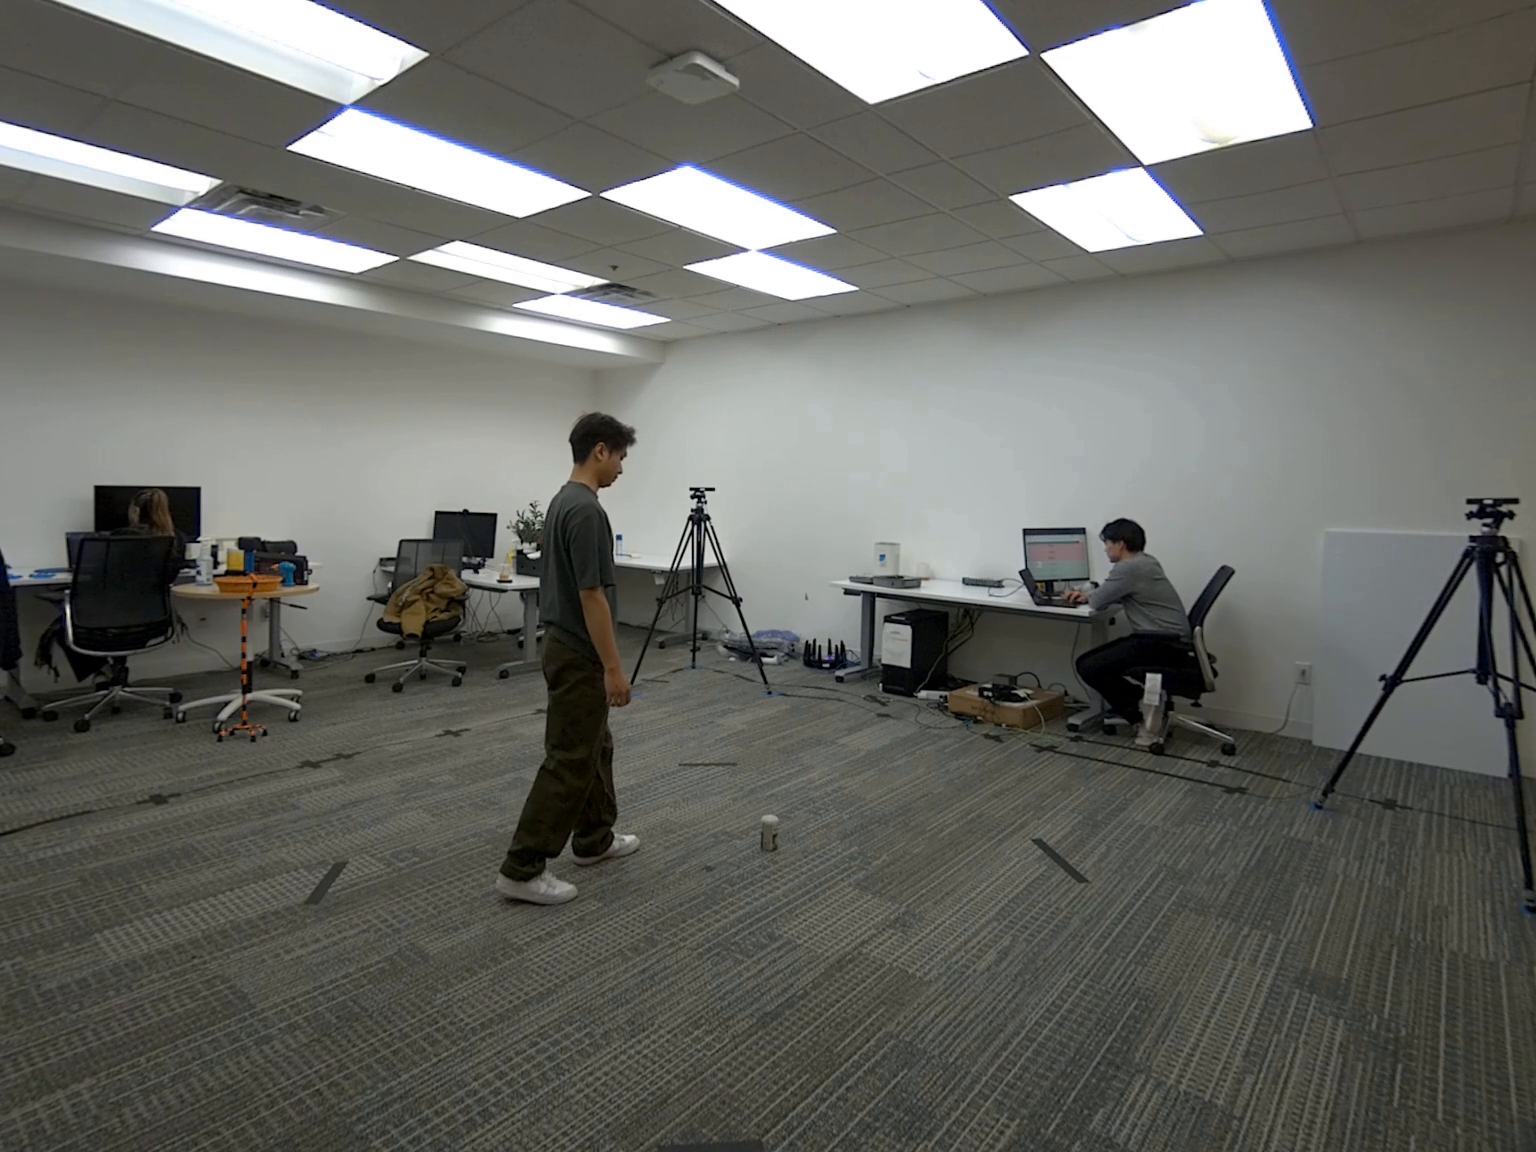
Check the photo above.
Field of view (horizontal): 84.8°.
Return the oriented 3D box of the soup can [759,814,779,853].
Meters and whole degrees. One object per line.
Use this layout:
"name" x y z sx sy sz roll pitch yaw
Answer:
"soup can" -0.005 0.999 3.296 0.067 0.121 0.067 3 4 -2
